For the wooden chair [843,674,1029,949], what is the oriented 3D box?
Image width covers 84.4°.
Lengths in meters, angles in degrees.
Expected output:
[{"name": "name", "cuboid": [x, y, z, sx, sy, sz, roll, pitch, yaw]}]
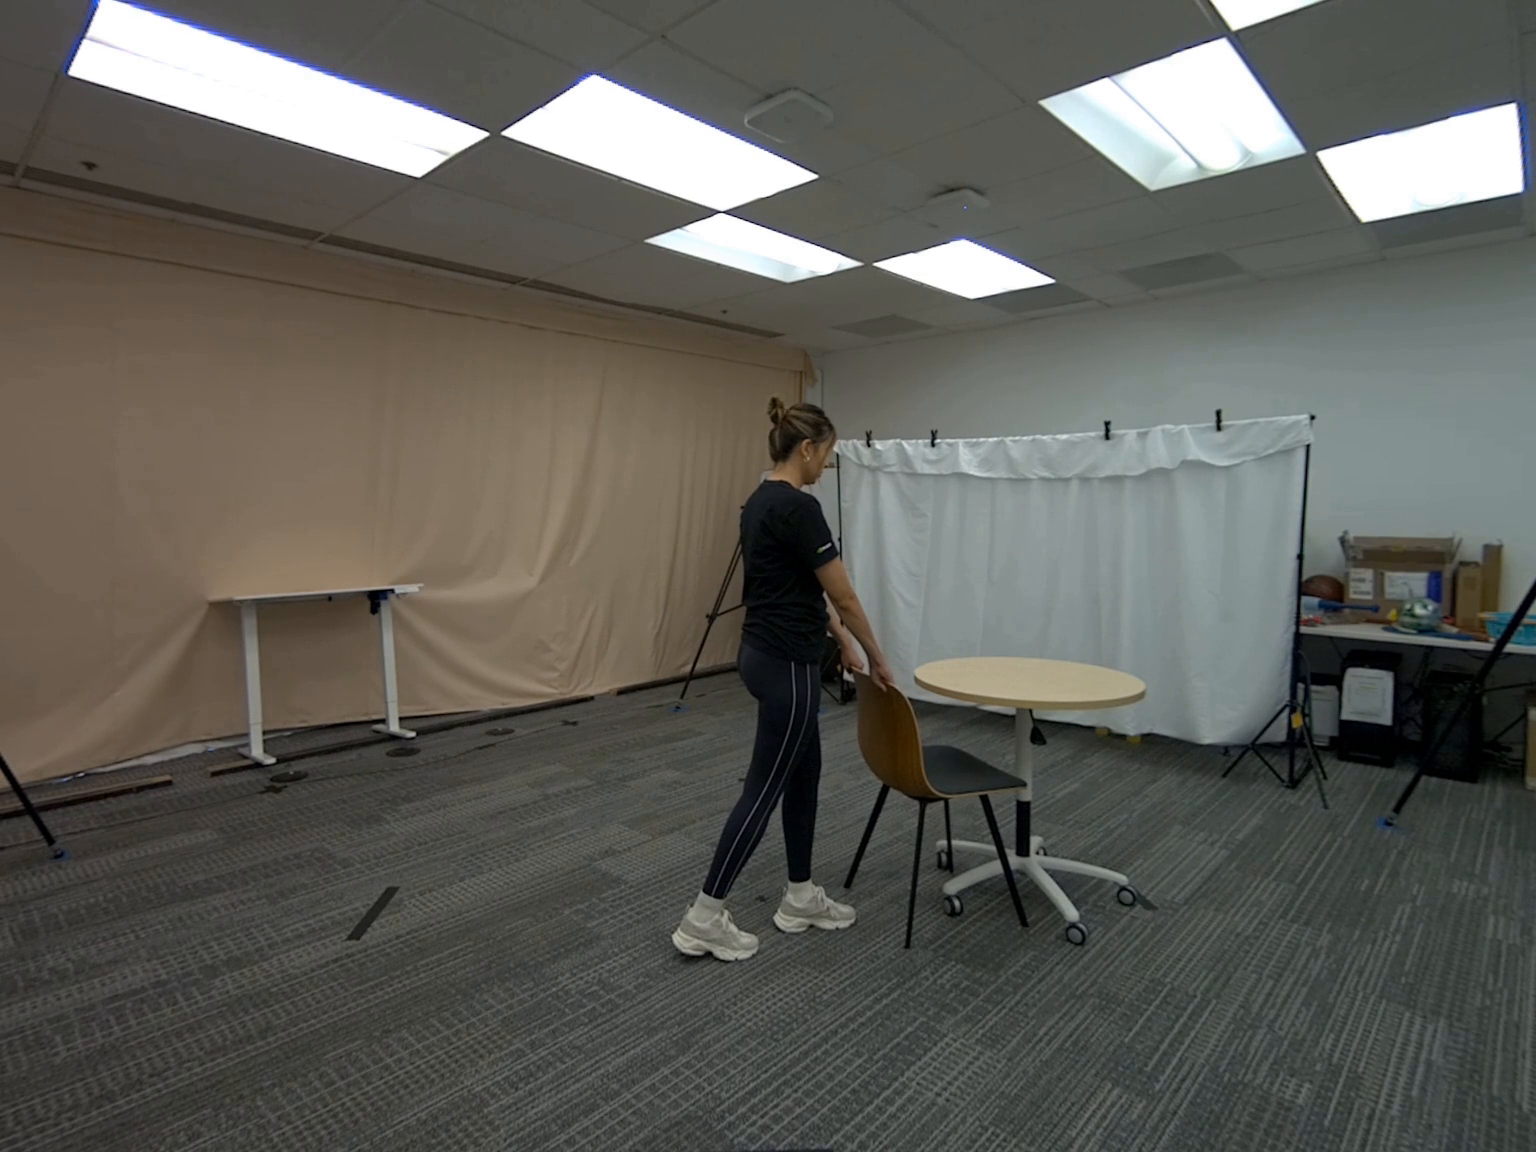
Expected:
[{"name": "wooden chair", "cuboid": [0.573, 0.722, 2.890, 0.514, 0.874, 0.488, -6, 5, -19]}]
